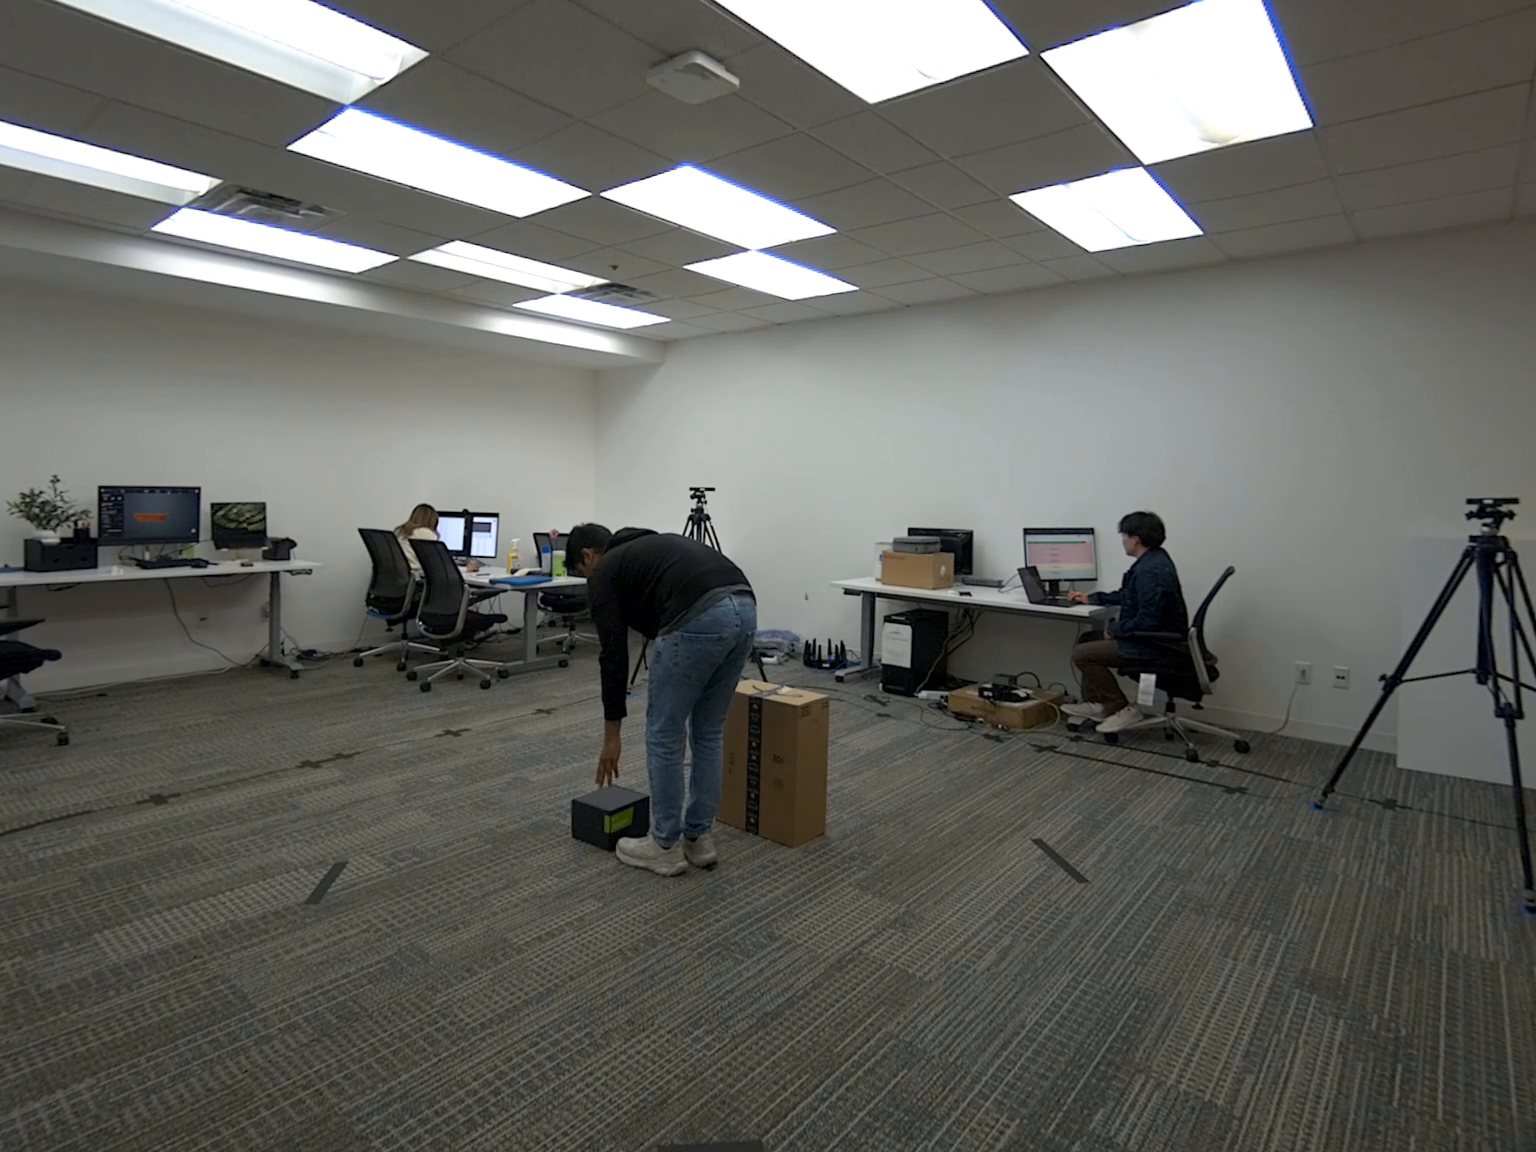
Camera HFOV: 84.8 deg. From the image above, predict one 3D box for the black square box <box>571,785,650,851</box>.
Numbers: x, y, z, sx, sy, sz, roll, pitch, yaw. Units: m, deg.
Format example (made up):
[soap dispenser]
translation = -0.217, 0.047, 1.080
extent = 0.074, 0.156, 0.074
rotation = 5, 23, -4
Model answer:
[black square box]
translation = -0.642, 0.941, 3.387
extent = 0.224, 0.155, 0.221
rotation = 4, 5, 36
